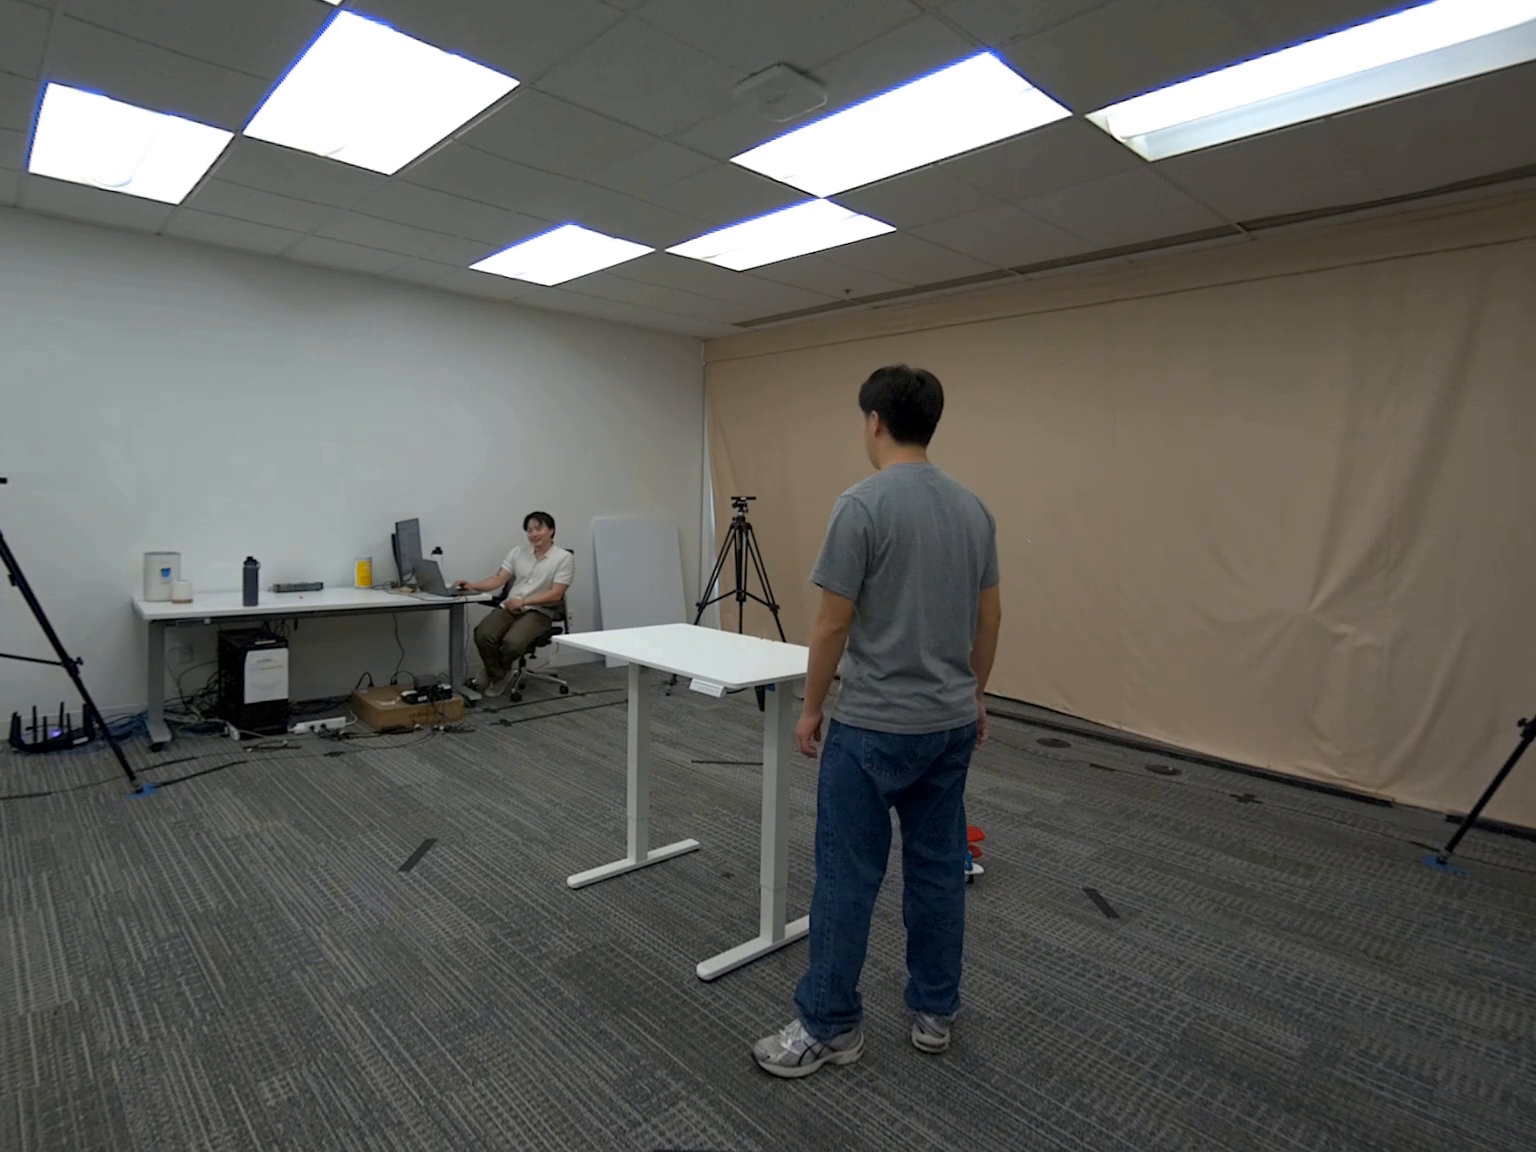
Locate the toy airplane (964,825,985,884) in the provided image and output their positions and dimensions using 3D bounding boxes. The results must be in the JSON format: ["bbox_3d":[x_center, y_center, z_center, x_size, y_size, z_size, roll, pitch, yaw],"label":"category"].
[{"bbox_3d":[0.730,1.052,3.188,0.245,0.156,0.266,-3,5,-41],"label":"toy airplane"}]
